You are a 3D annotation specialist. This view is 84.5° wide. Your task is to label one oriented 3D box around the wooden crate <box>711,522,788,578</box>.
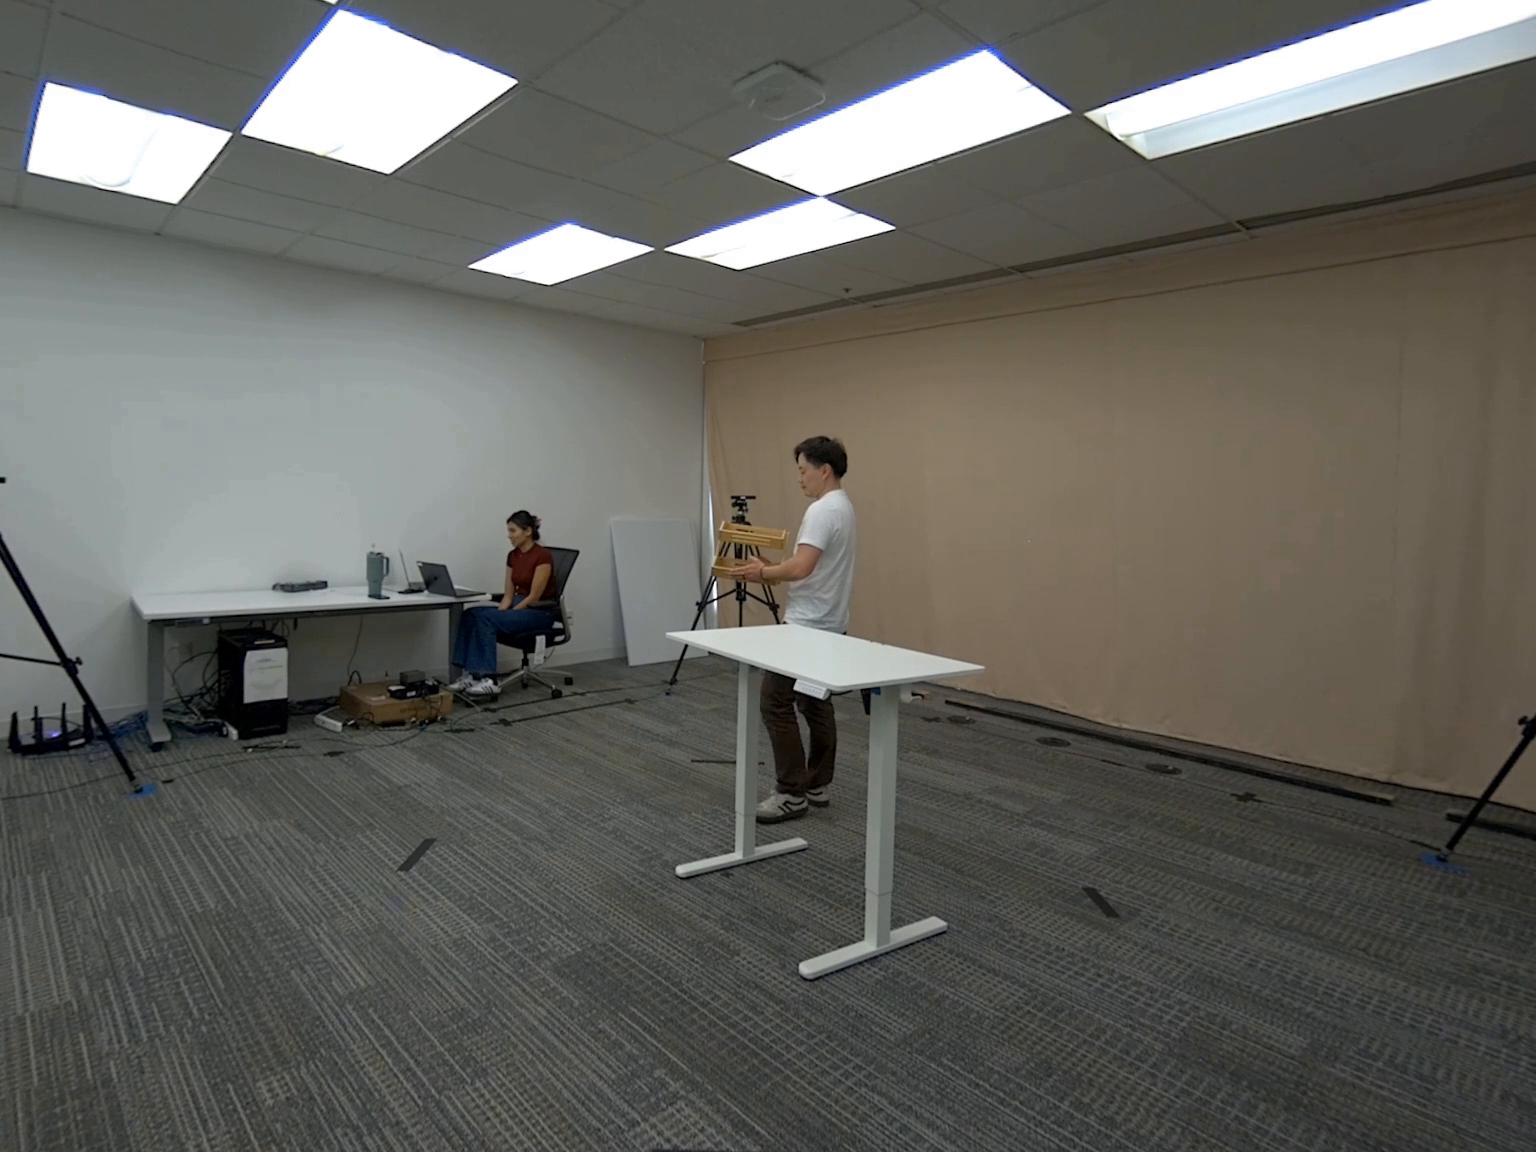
[{"bbox_3d":[-0.089,-0.111,3.919,0.327,0.273,0.300,9,0,7],"label":"wooden crate"}]
